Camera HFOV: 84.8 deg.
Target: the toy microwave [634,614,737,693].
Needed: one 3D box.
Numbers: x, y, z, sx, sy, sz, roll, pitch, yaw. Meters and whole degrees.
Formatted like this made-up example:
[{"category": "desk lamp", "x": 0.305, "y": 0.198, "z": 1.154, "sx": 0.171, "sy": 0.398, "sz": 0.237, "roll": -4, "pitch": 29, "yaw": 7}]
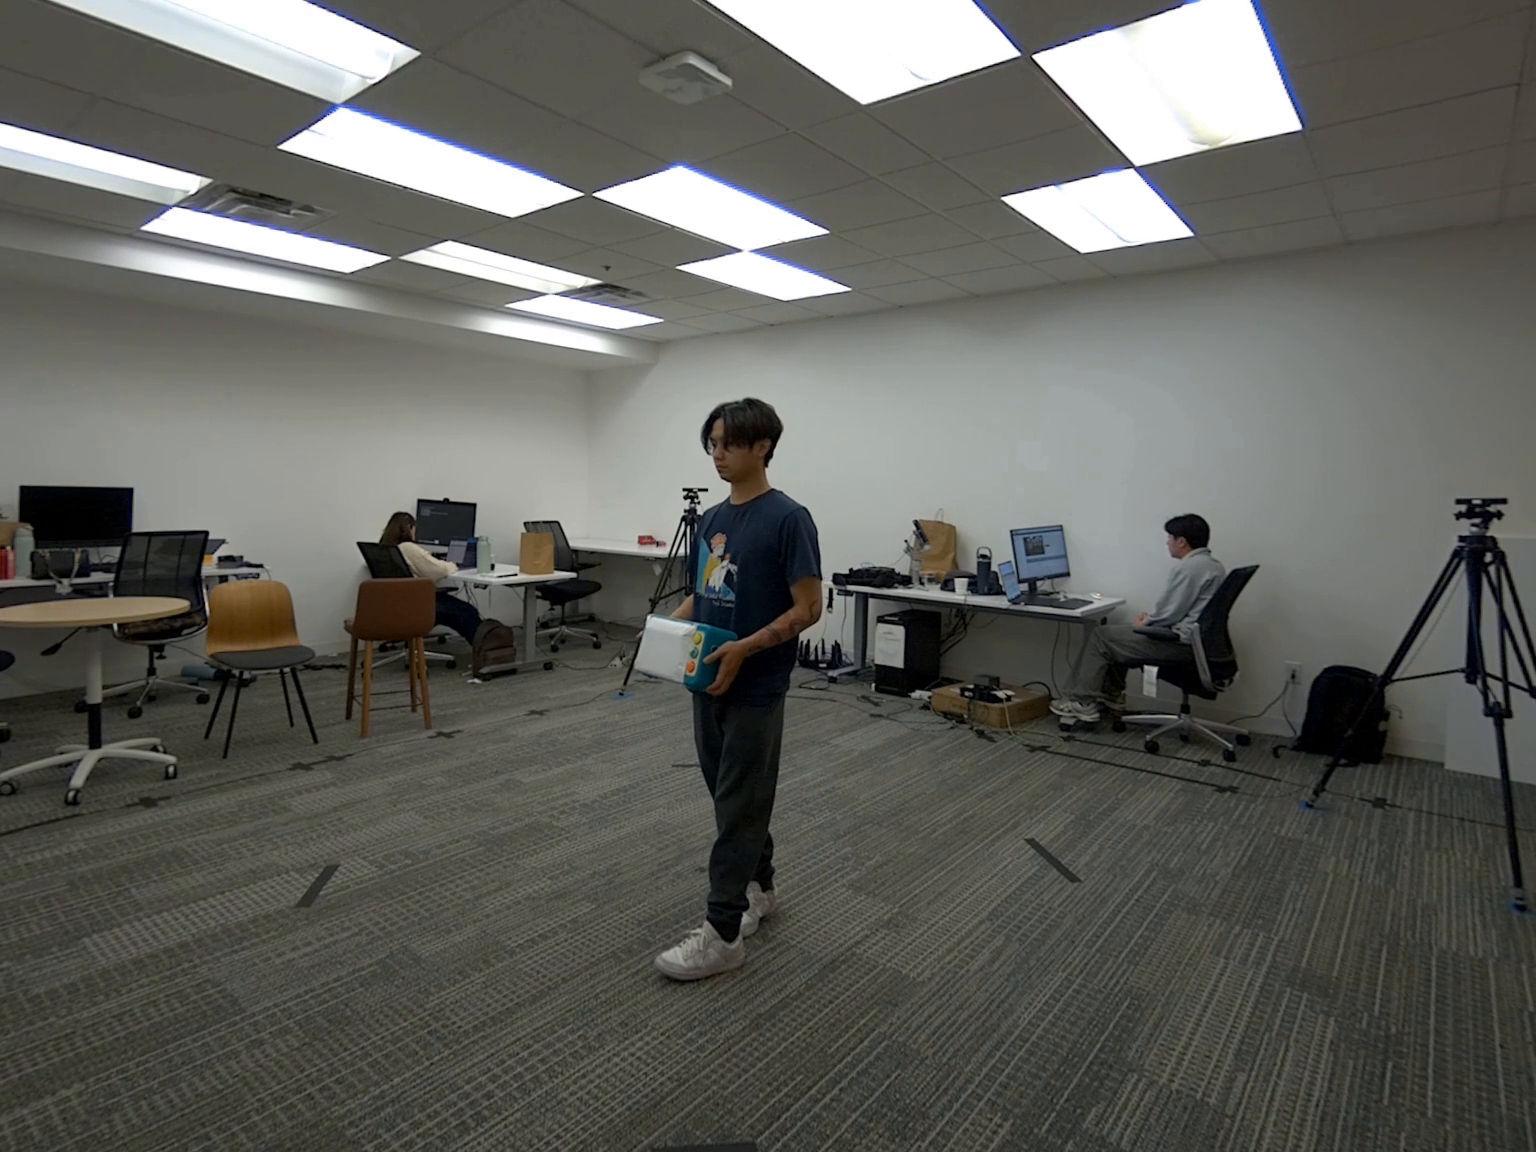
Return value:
[{"category": "toy microwave", "x": -0.257, "y": 0.218, "z": 2.483, "sx": 0.296, "sy": 0.185, "sz": 0.146, "roll": 8, "pitch": -10, "yaw": 44}]
